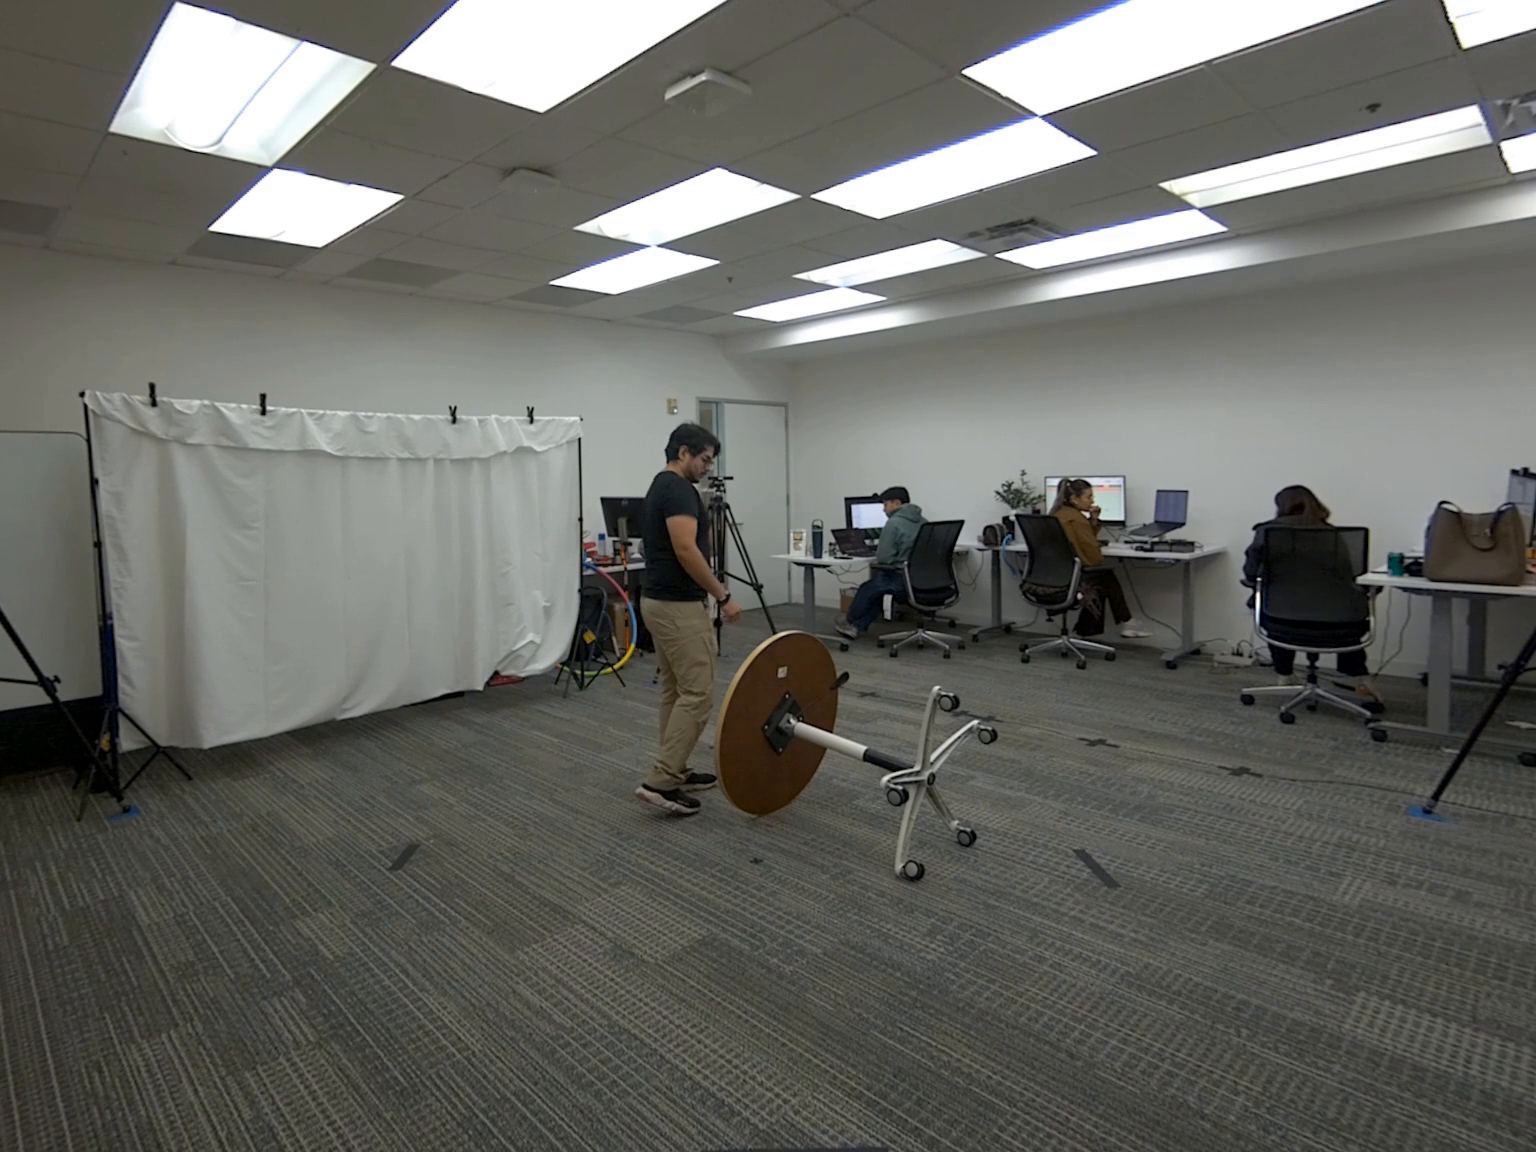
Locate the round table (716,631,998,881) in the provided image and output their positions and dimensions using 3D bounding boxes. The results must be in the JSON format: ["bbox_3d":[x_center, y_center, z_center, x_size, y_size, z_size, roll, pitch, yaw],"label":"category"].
[{"bbox_3d":[0.343,0.679,3.264,0.813,0.779,0.765,13,13,41],"label":"round table"}]
